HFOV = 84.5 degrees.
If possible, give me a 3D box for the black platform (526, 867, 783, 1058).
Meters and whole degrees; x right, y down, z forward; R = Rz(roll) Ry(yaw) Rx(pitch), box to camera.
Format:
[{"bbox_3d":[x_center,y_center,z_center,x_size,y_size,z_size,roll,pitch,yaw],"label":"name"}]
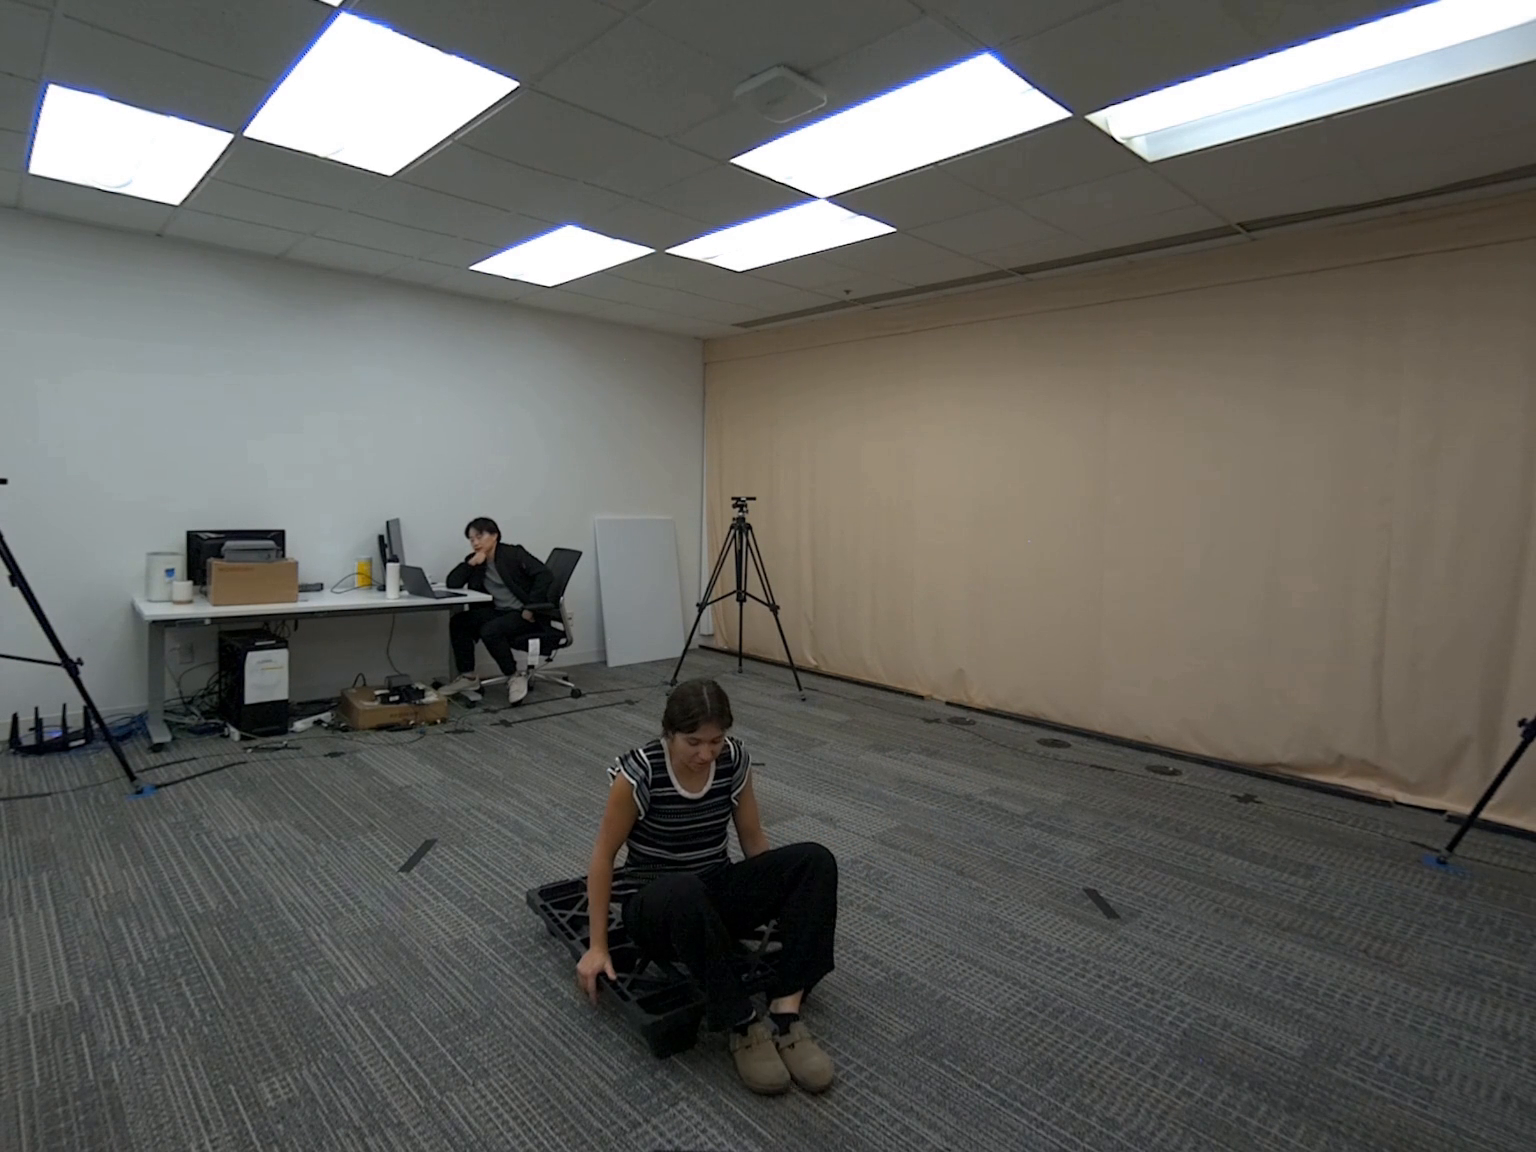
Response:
[{"bbox_3d":[-0.305,1.092,2.505,0.592,0.143,0.826,-3,8,-35],"label":"black platform"}]
